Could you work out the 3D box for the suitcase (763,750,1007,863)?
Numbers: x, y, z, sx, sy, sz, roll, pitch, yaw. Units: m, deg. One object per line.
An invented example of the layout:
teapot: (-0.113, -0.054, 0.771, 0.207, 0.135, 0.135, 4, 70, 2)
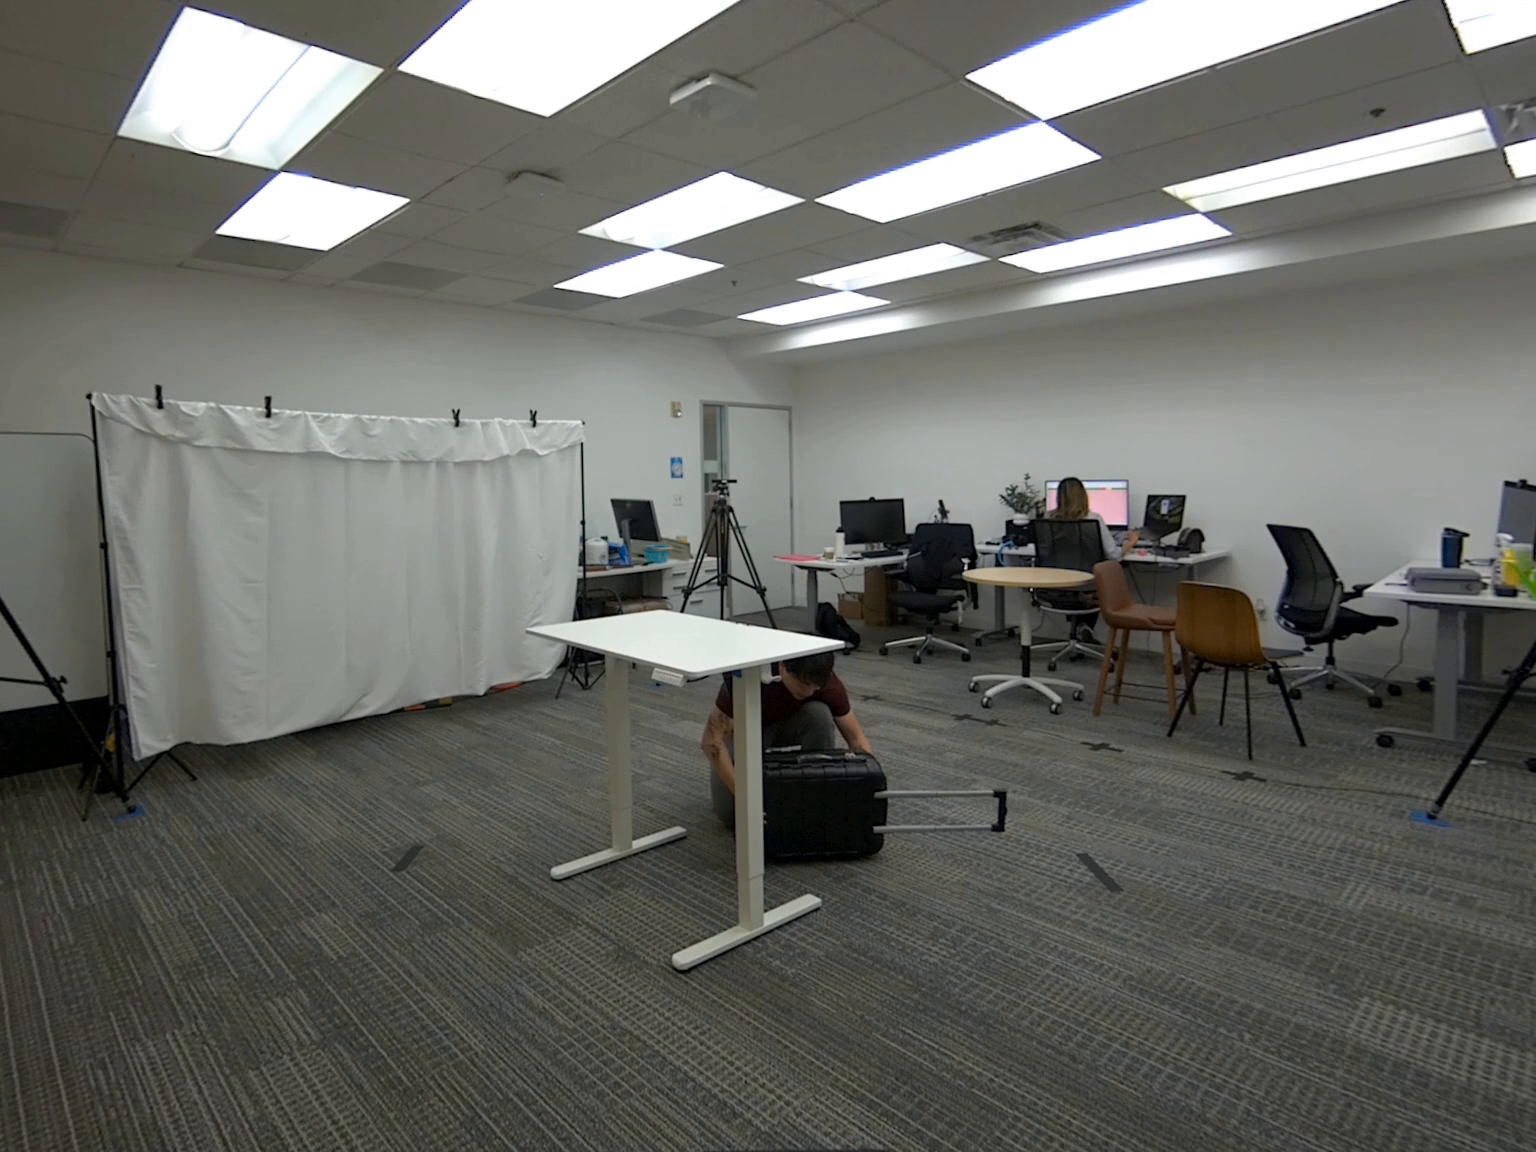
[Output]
suitcase: (0.363, 0.837, 3.201, 0.973, 0.382, 0.260, -2, 5, -6)
